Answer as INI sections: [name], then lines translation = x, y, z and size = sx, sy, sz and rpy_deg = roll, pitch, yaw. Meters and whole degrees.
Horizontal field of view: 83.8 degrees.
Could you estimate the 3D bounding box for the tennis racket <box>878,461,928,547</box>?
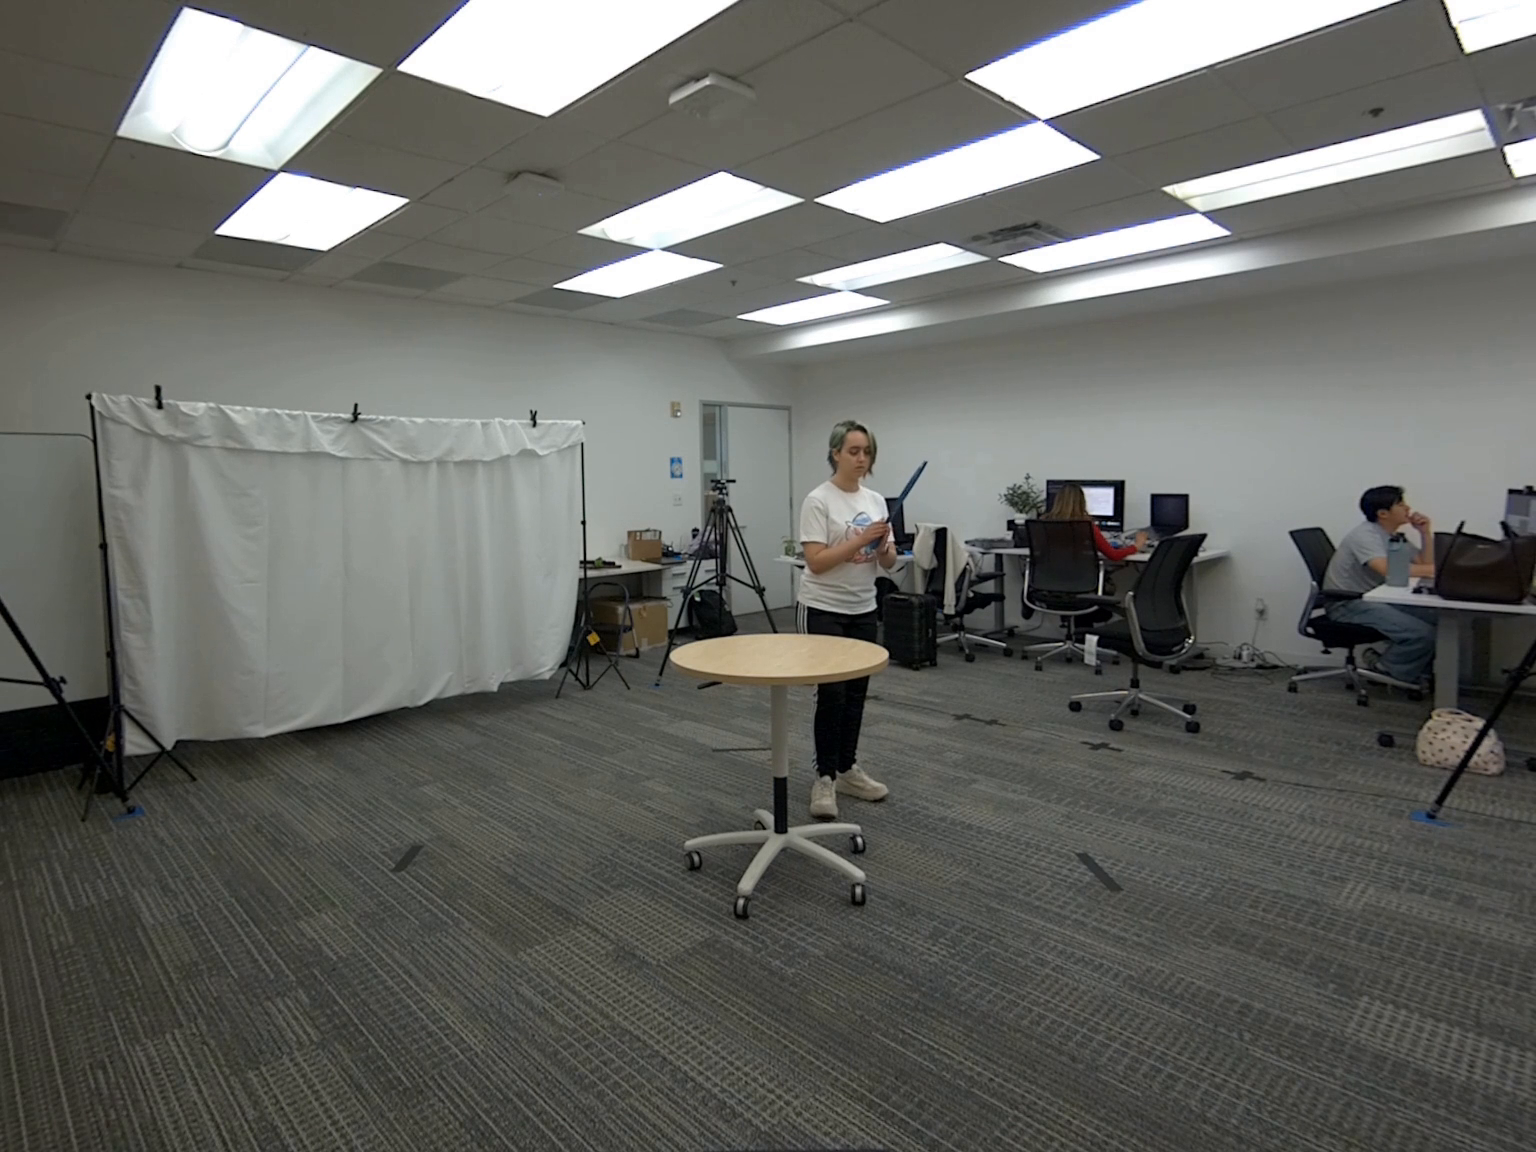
[tennis racket]
translation = 0.521, -0.287, 3.415
size = 0.032, 0.426, 0.214
rpy_deg = 29, 40, 10
